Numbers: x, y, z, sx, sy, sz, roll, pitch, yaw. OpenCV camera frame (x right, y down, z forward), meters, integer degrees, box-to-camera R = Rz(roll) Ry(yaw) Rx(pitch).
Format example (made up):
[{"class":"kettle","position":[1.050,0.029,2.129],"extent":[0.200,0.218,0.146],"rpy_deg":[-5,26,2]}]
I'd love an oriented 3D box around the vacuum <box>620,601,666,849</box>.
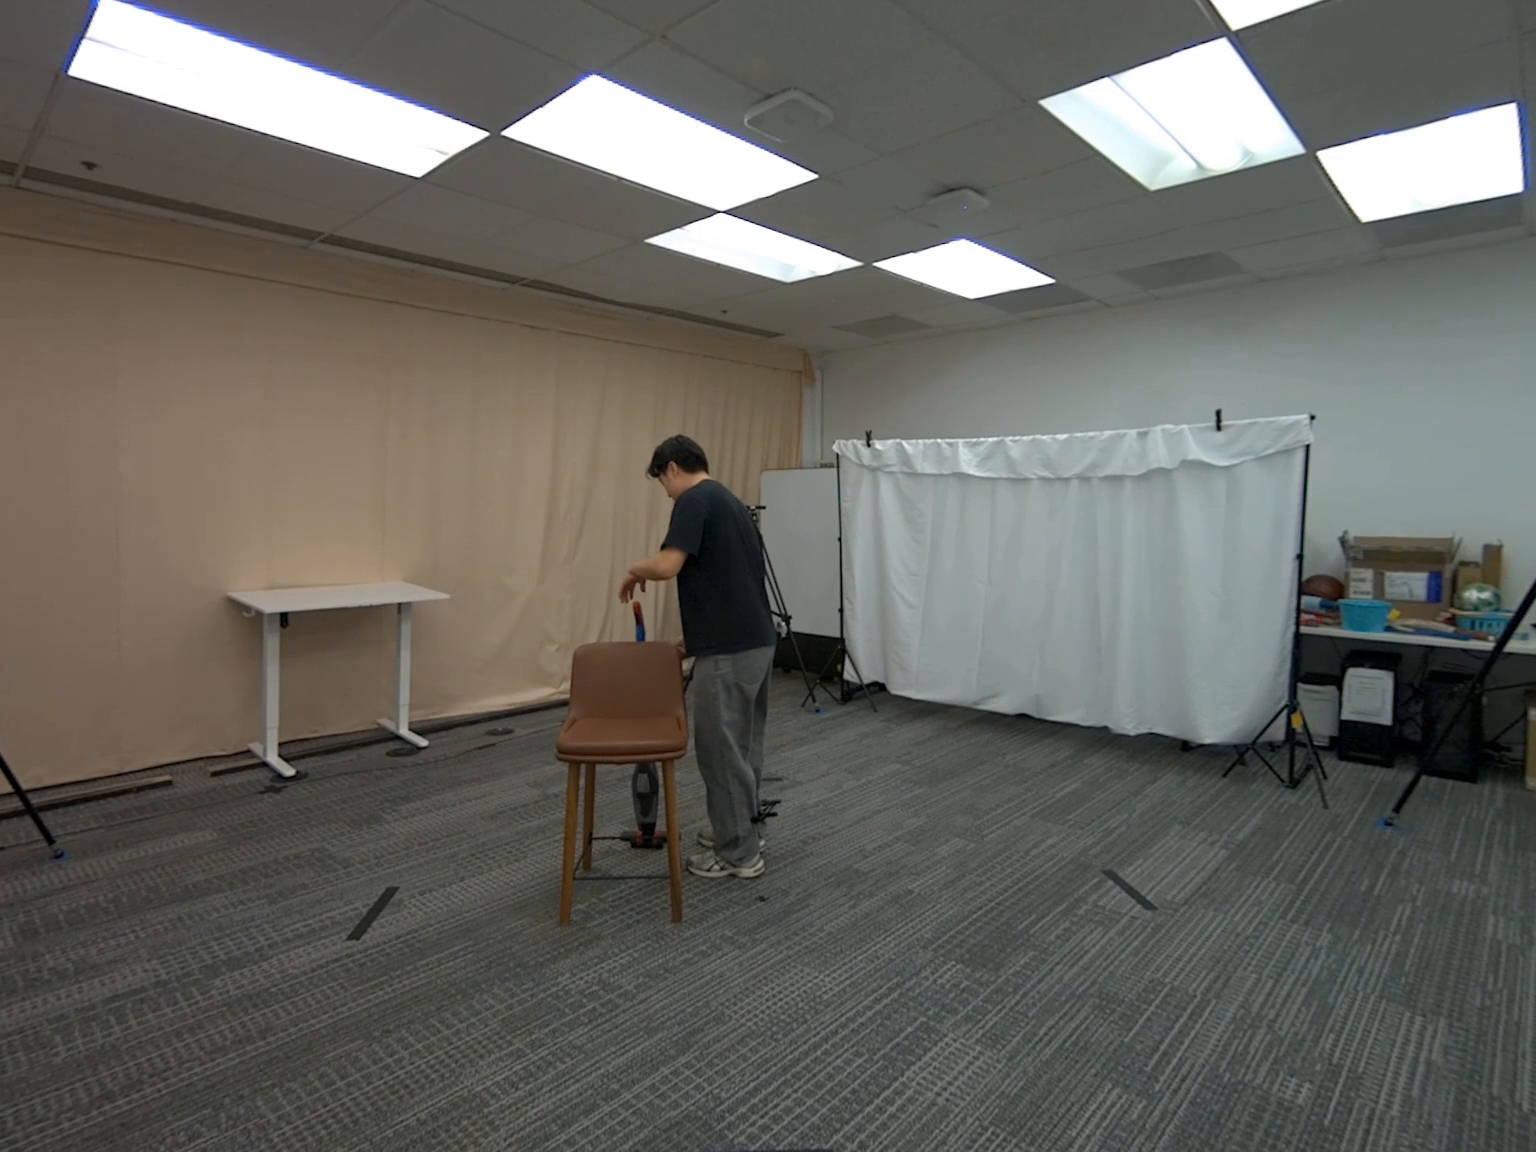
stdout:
[{"class":"vacuum","position":[-0.496,0.606,3.363],"extent":[0.252,1.040,0.146],"rpy_deg":[0,14,-3]}]
